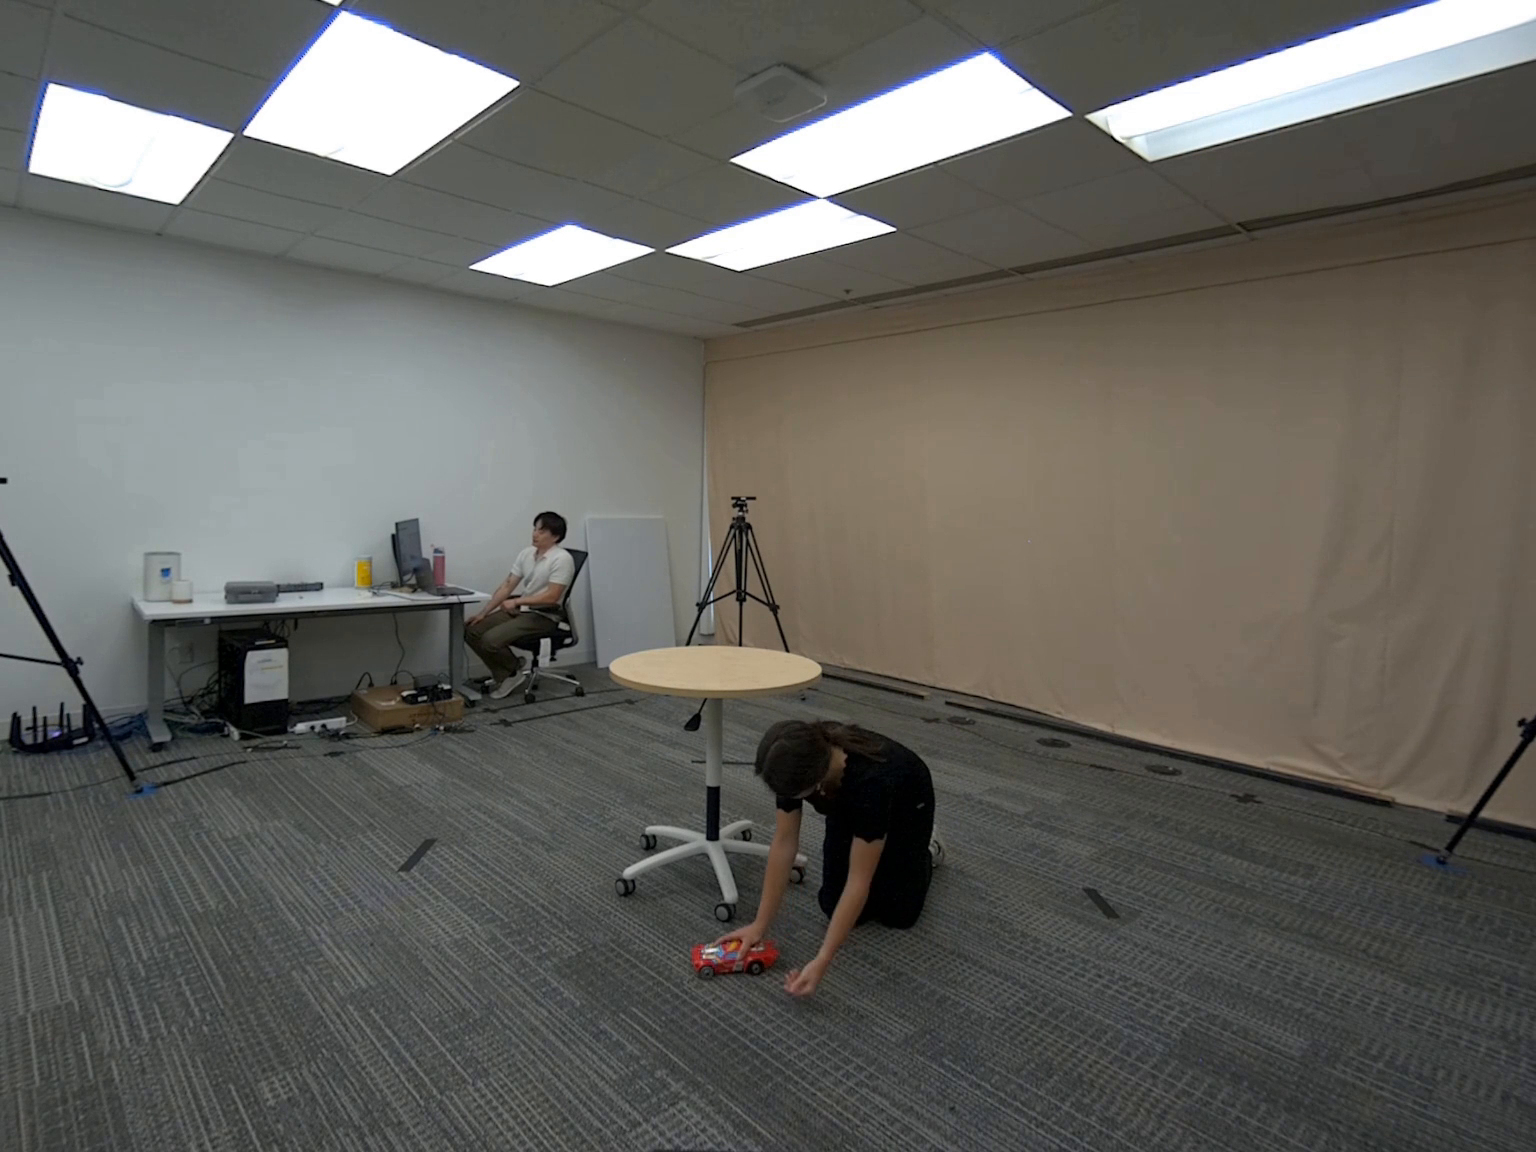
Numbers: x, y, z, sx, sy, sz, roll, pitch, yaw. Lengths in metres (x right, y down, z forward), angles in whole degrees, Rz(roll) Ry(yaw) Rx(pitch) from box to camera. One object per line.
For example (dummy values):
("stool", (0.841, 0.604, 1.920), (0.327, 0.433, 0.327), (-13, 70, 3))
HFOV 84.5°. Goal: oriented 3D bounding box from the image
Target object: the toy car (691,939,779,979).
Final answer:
("toy car", (-0.095, 1.135, 2.492), (0.252, 0.083, 0.132), (-11, 8, -12))
